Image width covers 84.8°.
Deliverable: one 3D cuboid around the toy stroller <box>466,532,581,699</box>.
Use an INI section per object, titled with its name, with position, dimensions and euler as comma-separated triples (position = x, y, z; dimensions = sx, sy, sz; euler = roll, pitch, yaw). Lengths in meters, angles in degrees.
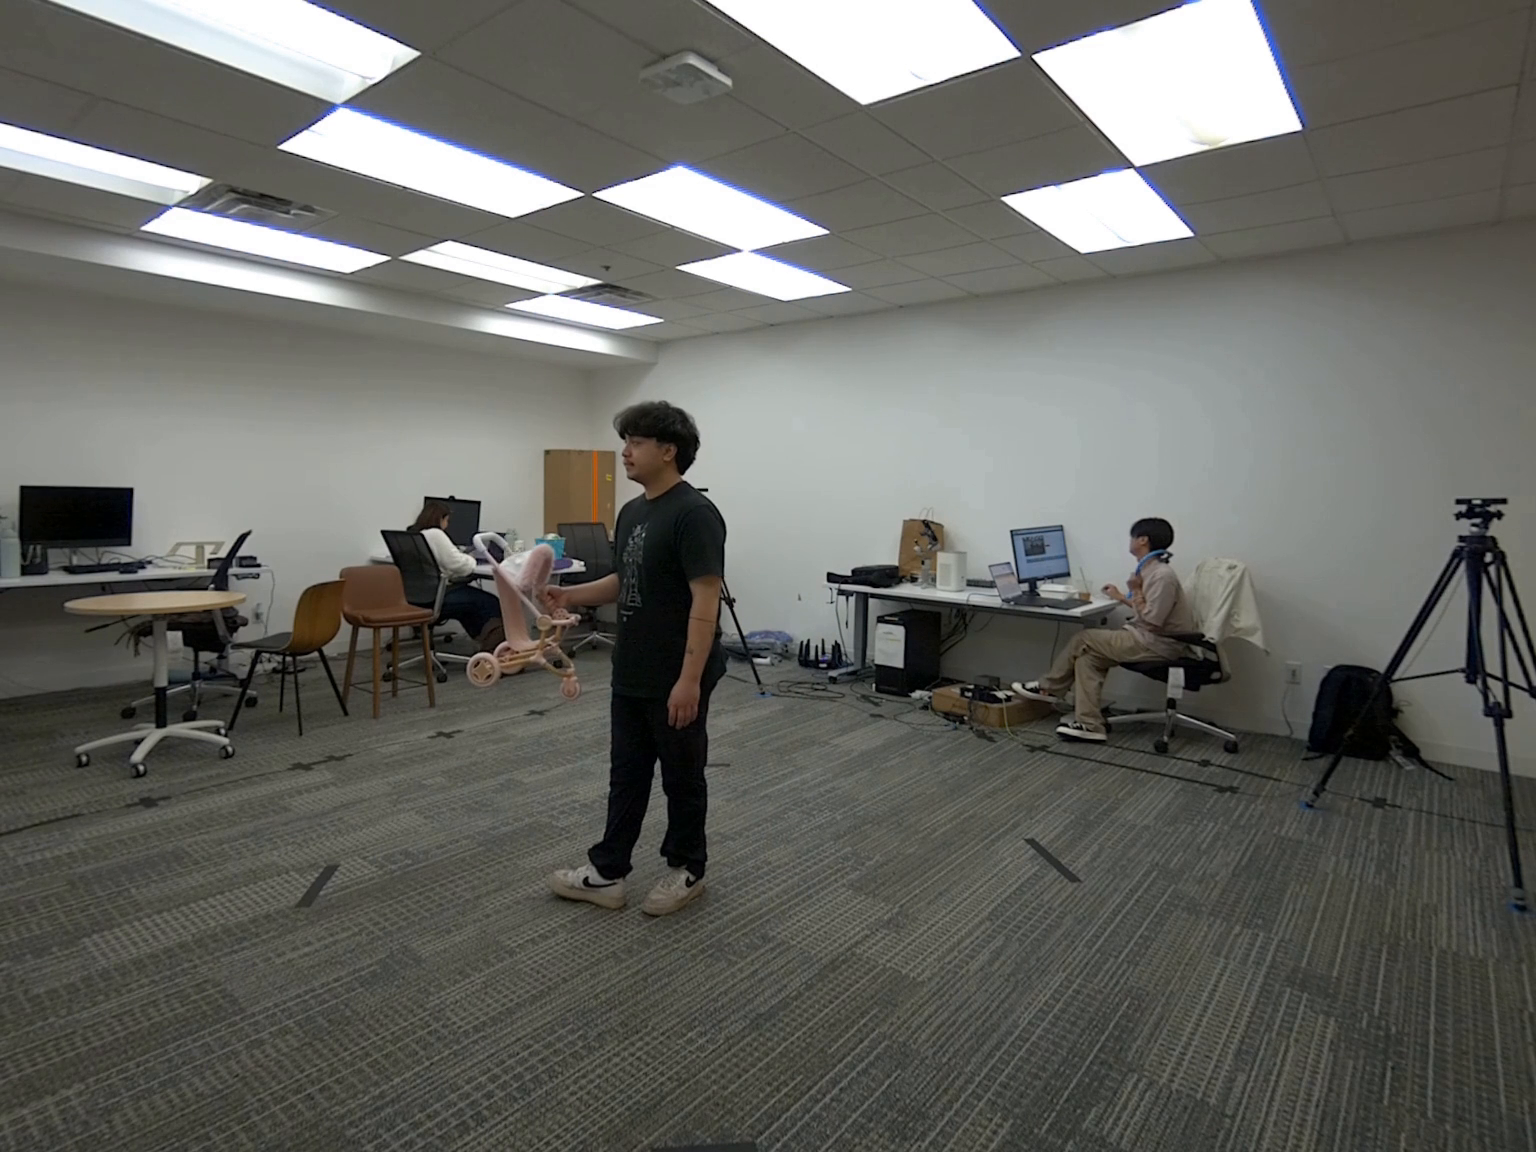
[toy stroller]
position = -0.782, 0.132, 2.735
dimensions = 0.345, 0.534, 0.279
euler = 1, 1, 9
